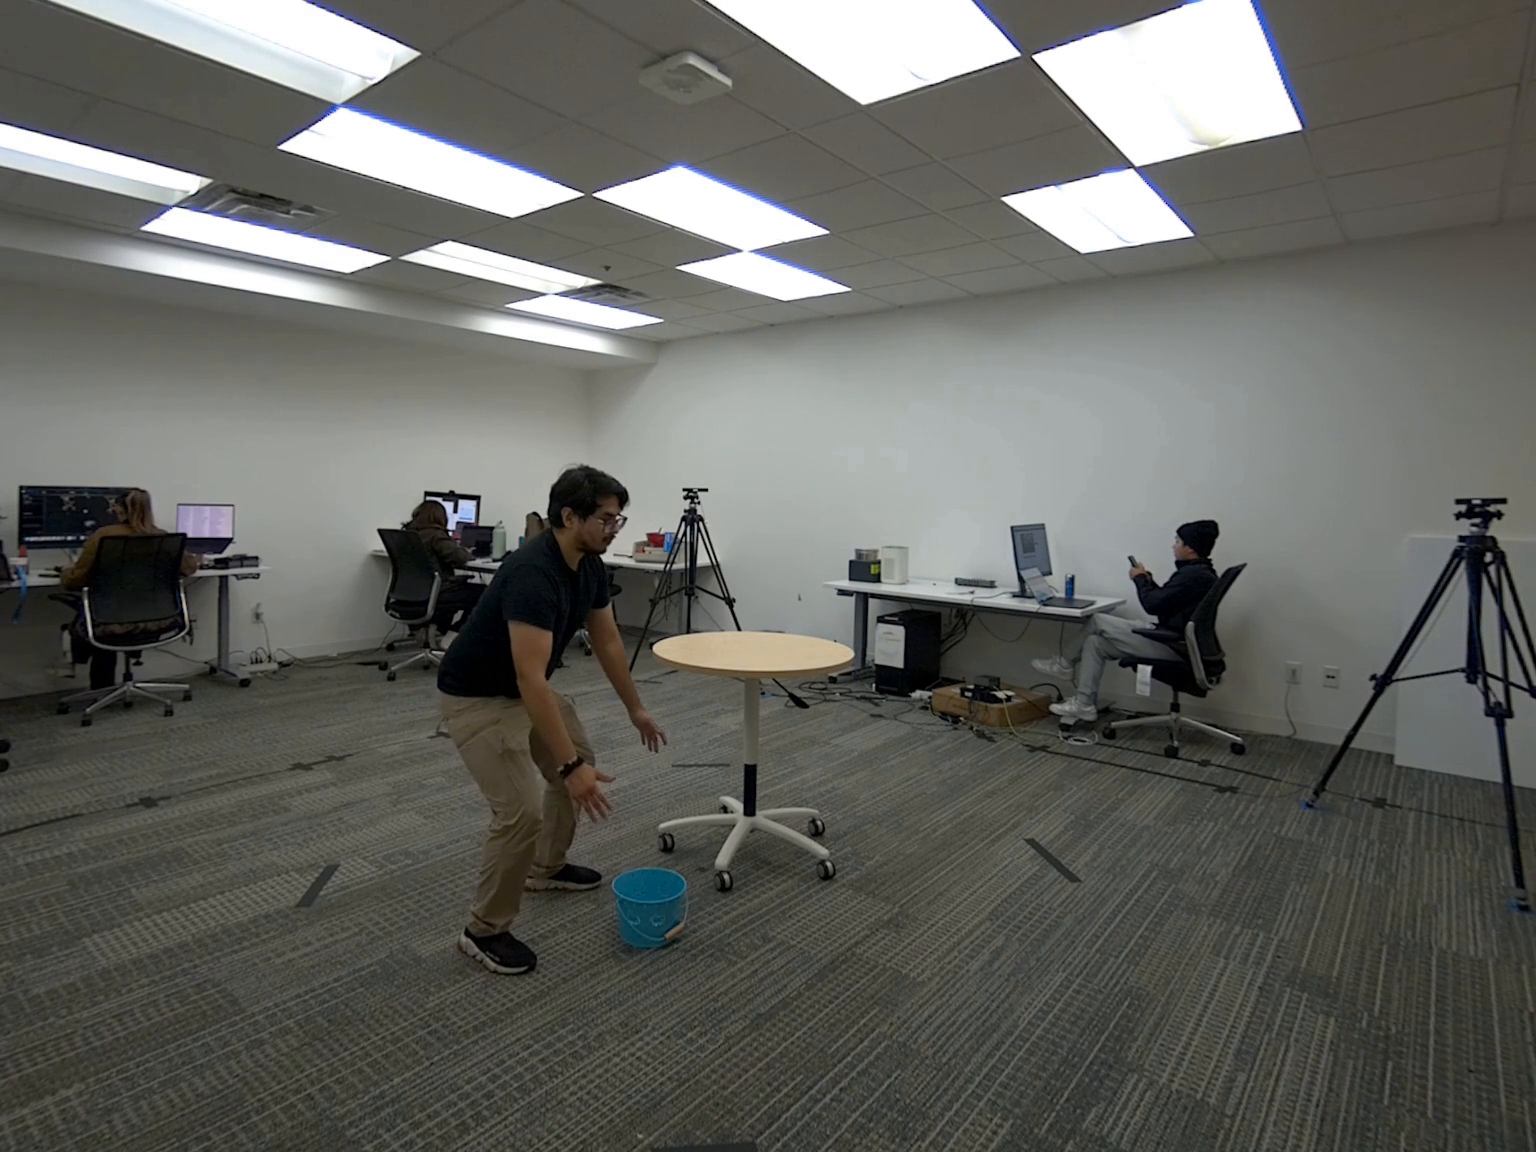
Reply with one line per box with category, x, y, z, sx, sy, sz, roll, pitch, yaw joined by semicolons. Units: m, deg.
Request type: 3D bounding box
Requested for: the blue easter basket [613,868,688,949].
blue easter basket;-0.377;1.032;2.650;0.243;0.155;0.245;0;5;-2
